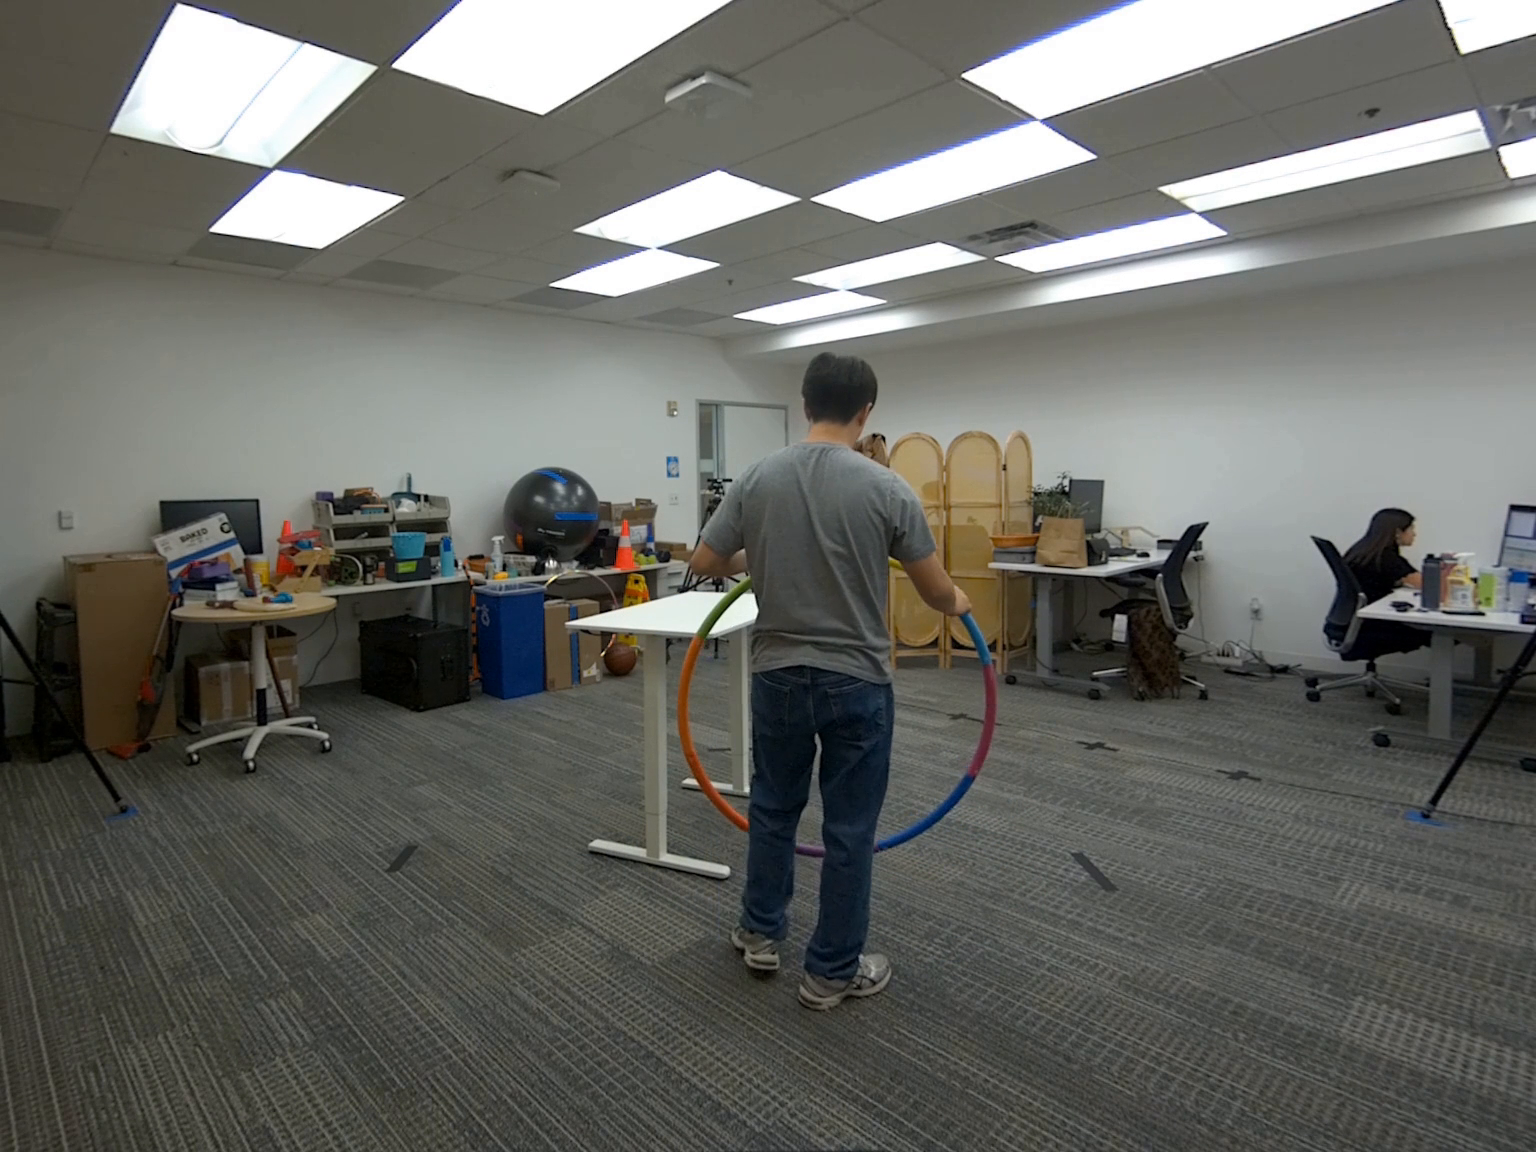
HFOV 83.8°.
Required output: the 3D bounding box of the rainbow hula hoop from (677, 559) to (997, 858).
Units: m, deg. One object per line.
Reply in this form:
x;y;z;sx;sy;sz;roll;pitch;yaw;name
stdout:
0.211;0.407;2.614;0.977;0.971;0.036;-1;8;-1;rainbow hula hoop
